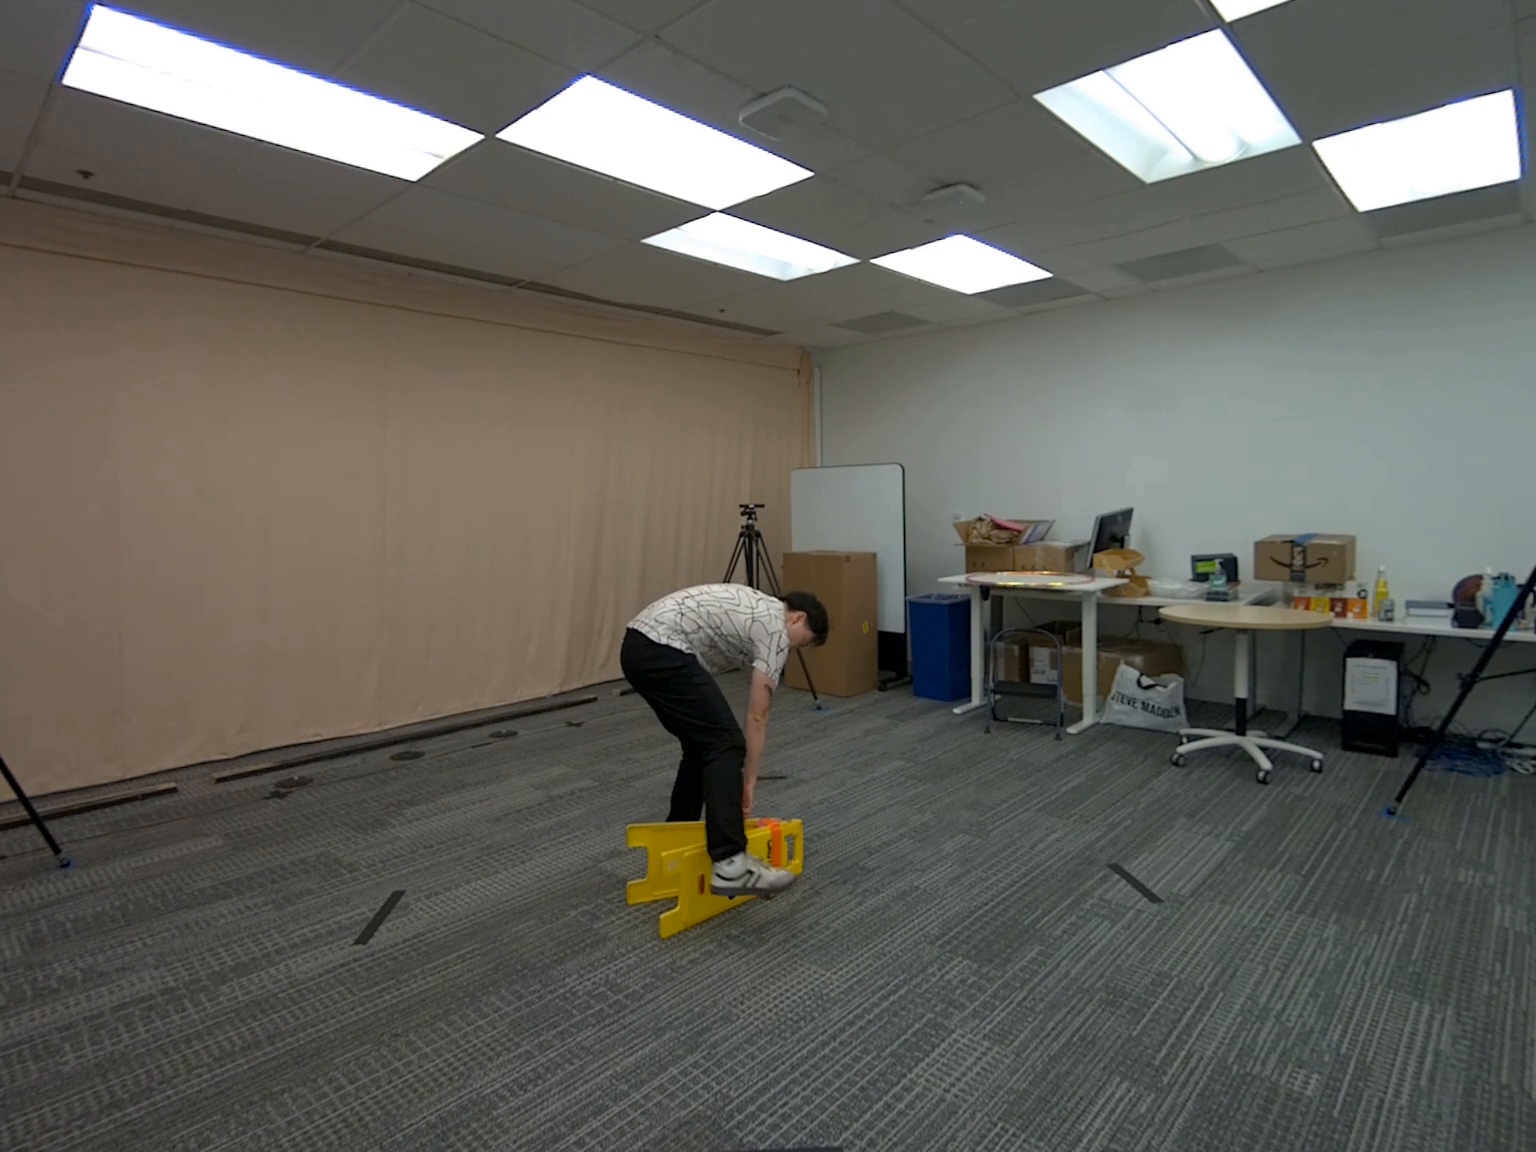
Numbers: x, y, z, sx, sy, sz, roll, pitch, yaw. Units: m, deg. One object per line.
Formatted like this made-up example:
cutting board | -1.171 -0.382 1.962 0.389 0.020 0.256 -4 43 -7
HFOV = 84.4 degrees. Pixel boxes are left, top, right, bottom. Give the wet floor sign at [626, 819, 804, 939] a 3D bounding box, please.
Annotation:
wet floor sign | -0.146 1.011 2.983 0.629 0.282 0.298 -2 4 -29
